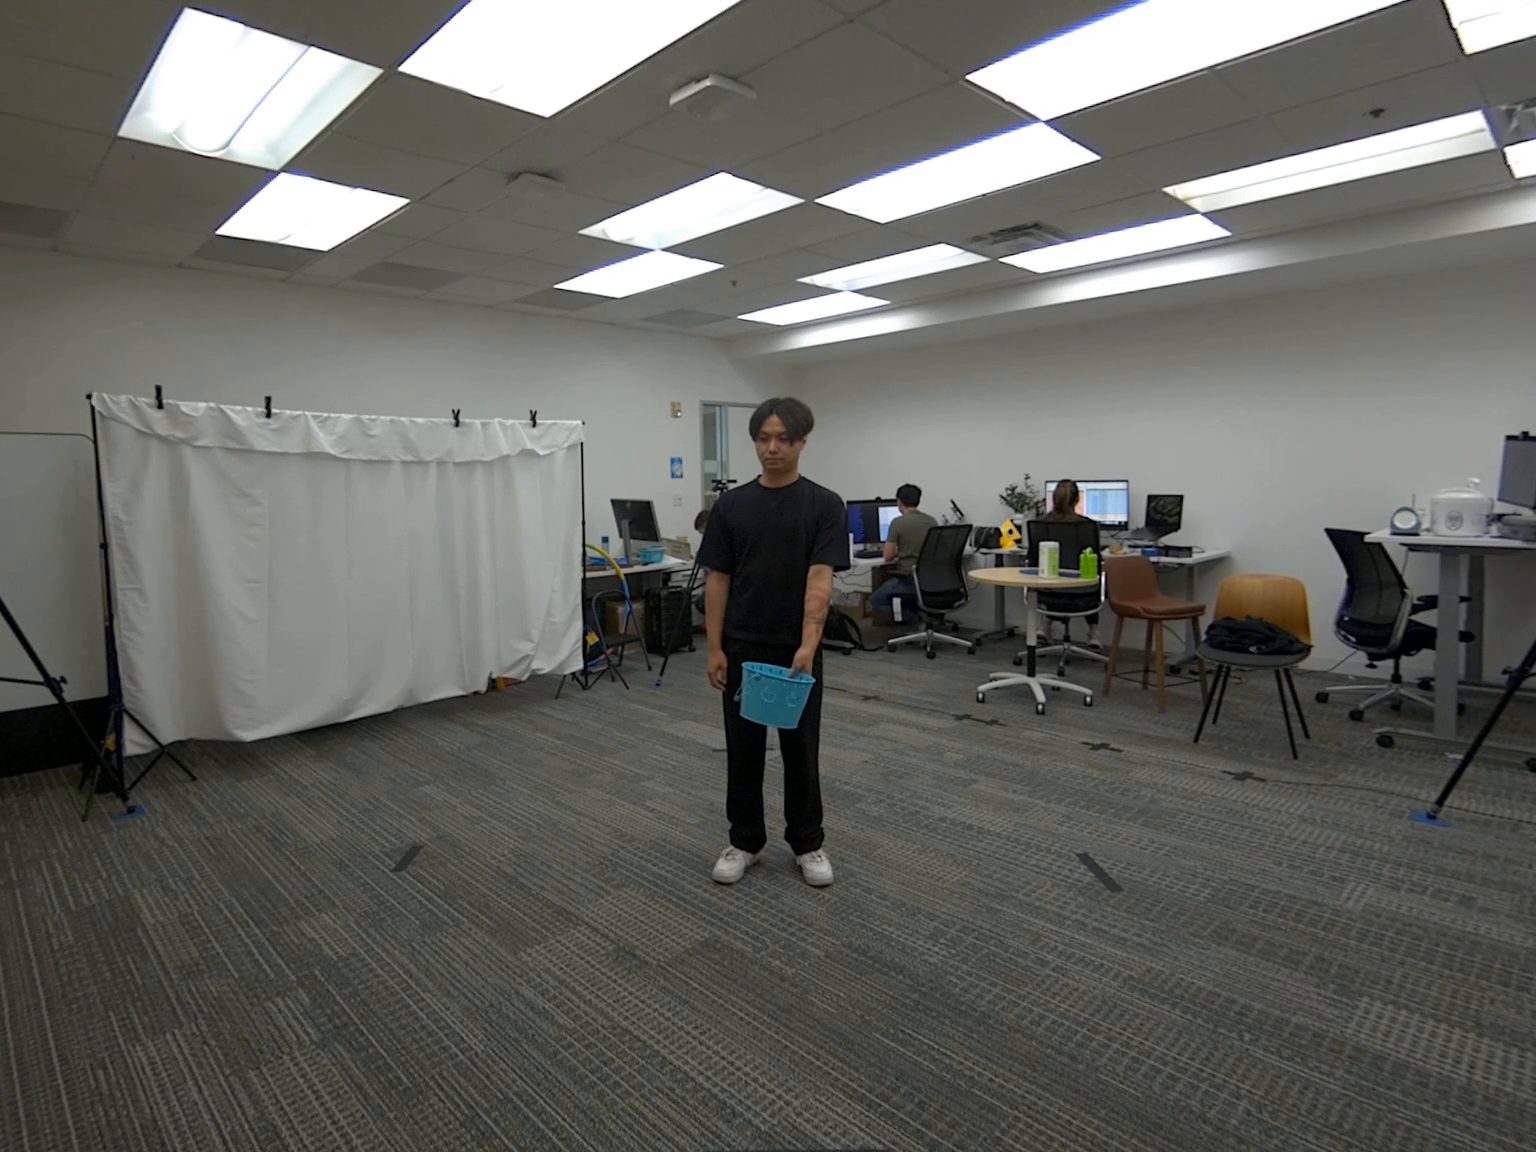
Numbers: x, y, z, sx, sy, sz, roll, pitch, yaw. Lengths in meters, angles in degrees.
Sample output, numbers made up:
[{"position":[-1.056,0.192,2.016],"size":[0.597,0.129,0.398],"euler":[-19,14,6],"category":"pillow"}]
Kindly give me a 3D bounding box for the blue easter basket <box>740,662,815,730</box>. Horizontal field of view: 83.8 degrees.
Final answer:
[{"position":[0.023,0.384,2.659],"size":[0.243,0.156,0.244],"euler":[11,1,-2],"category":"blue easter basket"}]
